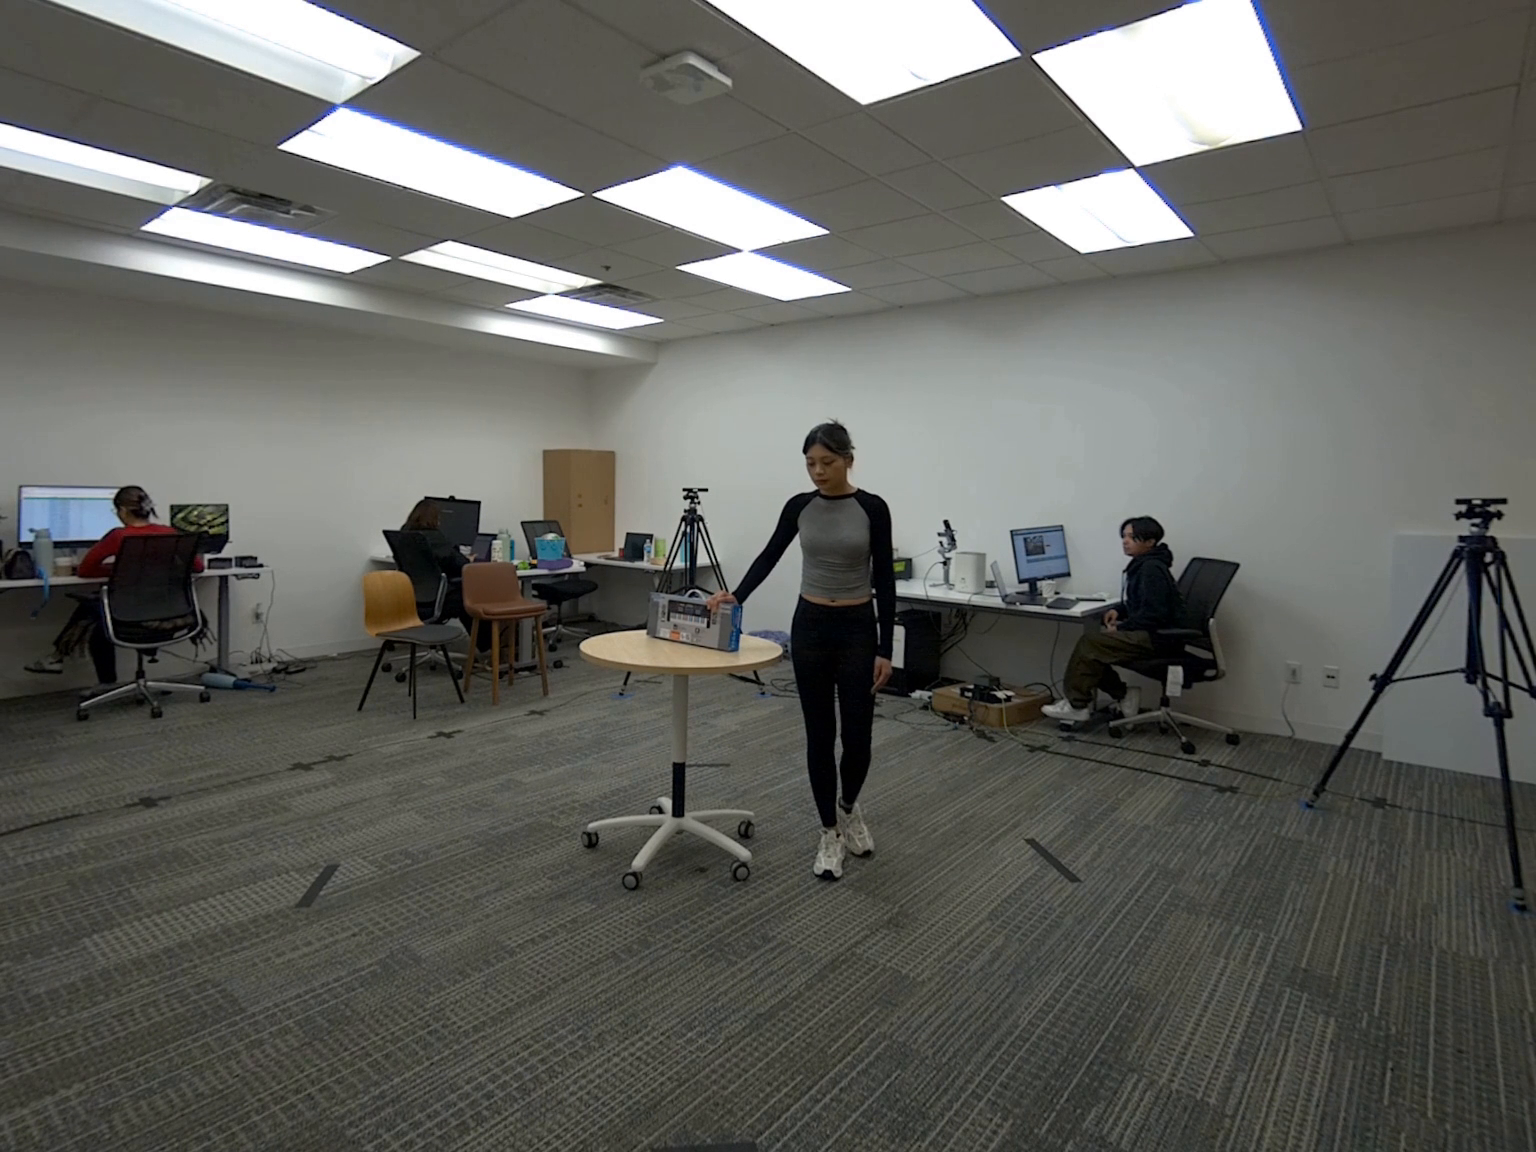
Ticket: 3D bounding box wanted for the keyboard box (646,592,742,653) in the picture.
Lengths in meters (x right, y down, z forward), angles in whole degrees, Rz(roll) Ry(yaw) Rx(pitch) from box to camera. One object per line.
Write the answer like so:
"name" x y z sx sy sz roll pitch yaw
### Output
"keyboard box" -0.300 0.171 3.280 0.452 0.176 0.057 7 1 40
